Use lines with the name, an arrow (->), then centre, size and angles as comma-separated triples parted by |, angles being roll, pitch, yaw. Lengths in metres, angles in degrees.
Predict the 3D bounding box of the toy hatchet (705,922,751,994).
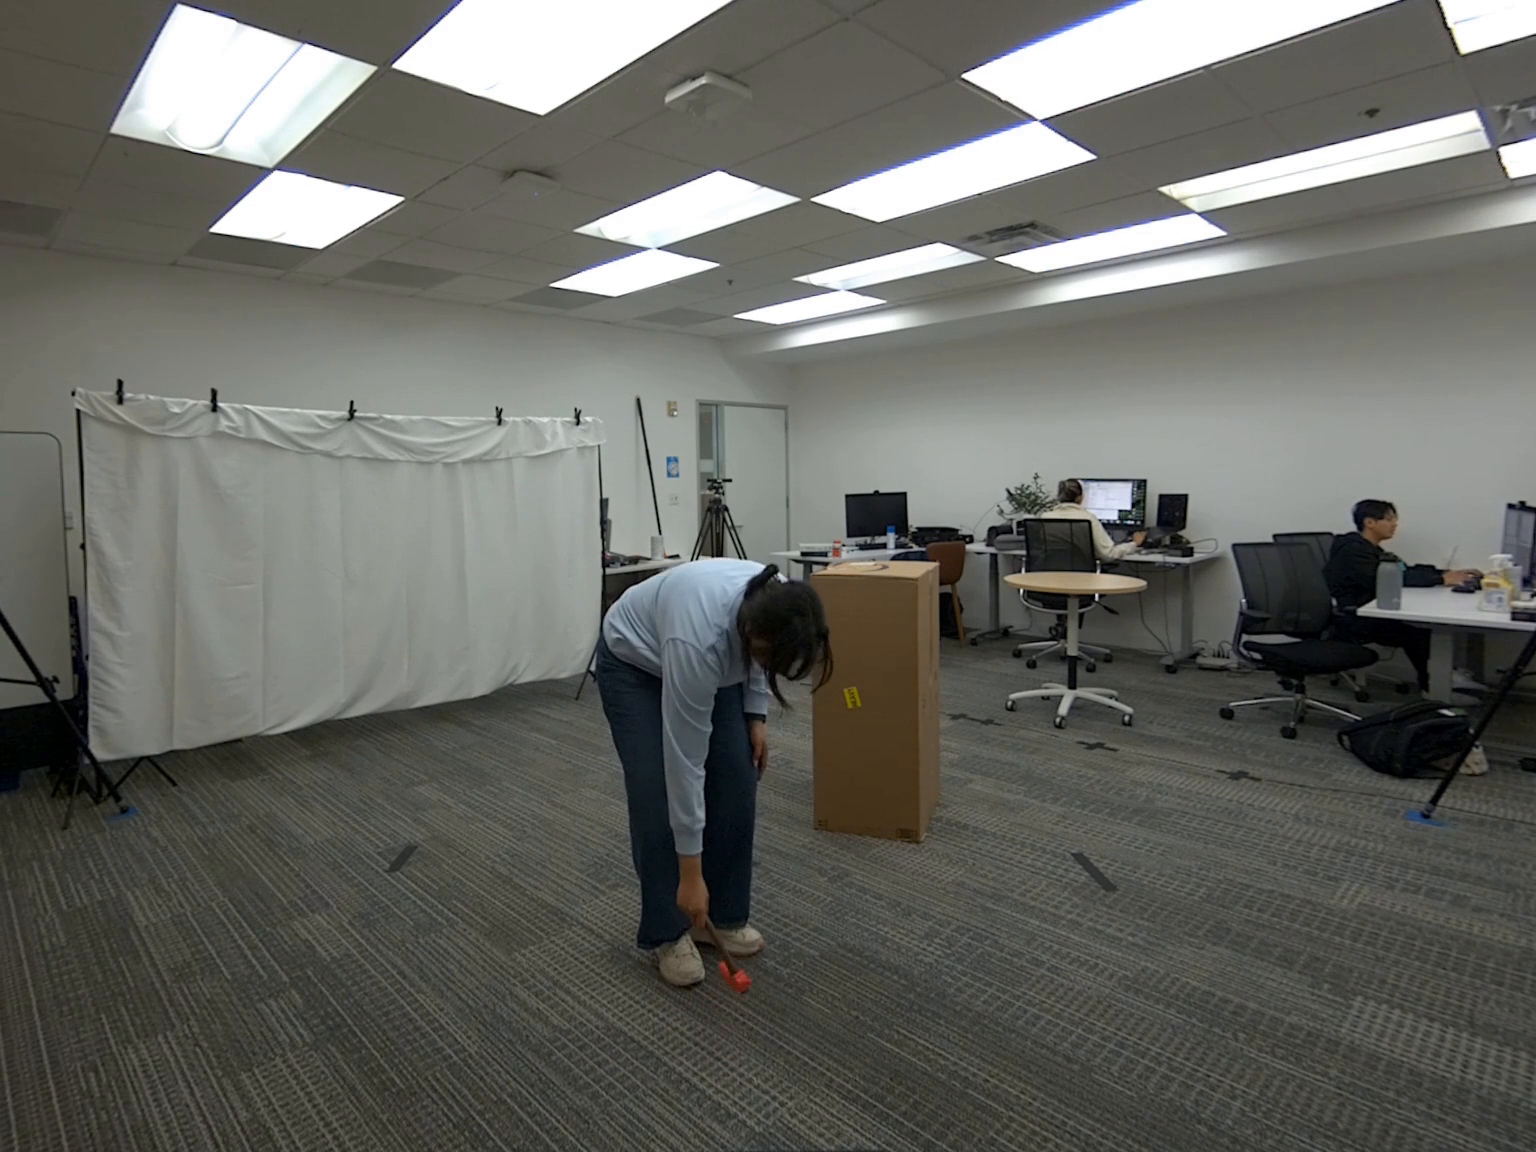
toy hatchet -> -0.126, 0.943, 2.182 | 0.029, 0.128, 0.279 | -22, 56, -29
